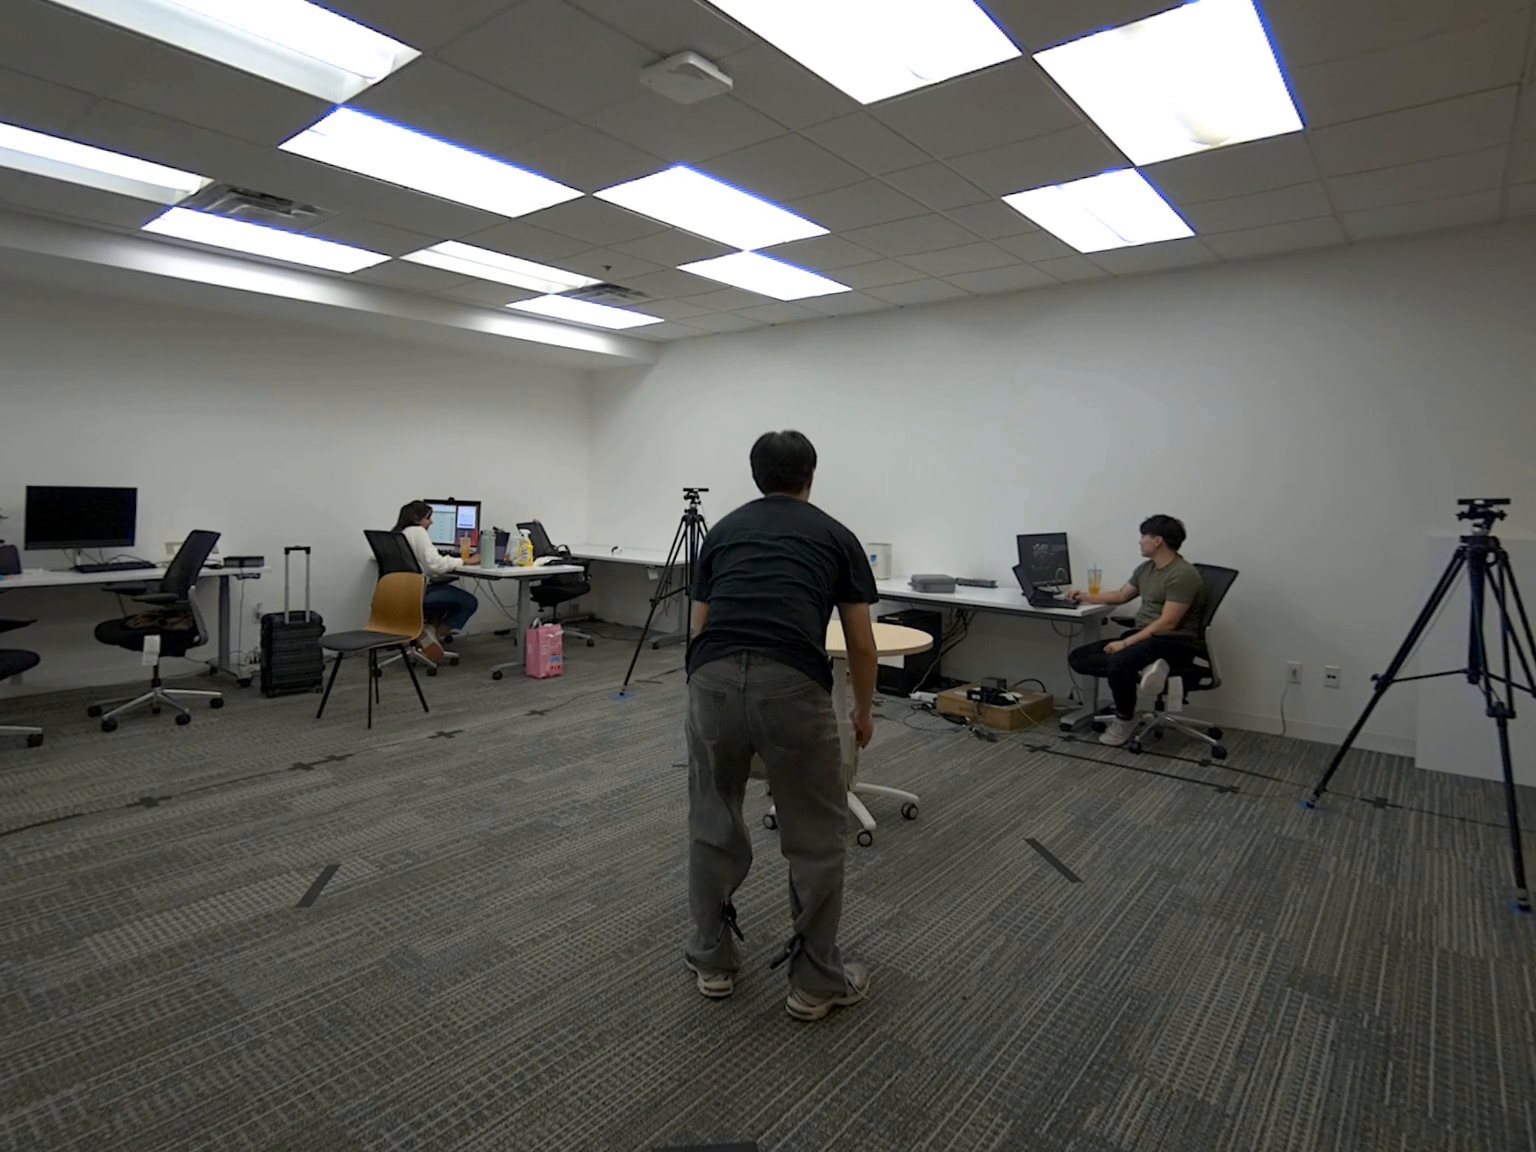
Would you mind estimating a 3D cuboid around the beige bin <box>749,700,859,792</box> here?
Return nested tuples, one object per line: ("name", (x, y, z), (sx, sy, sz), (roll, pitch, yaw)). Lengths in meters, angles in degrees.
("beige bin", (0.070, 0.548, 2.706), (0.428, 0.190, 0.370), (1, -6, 12))
